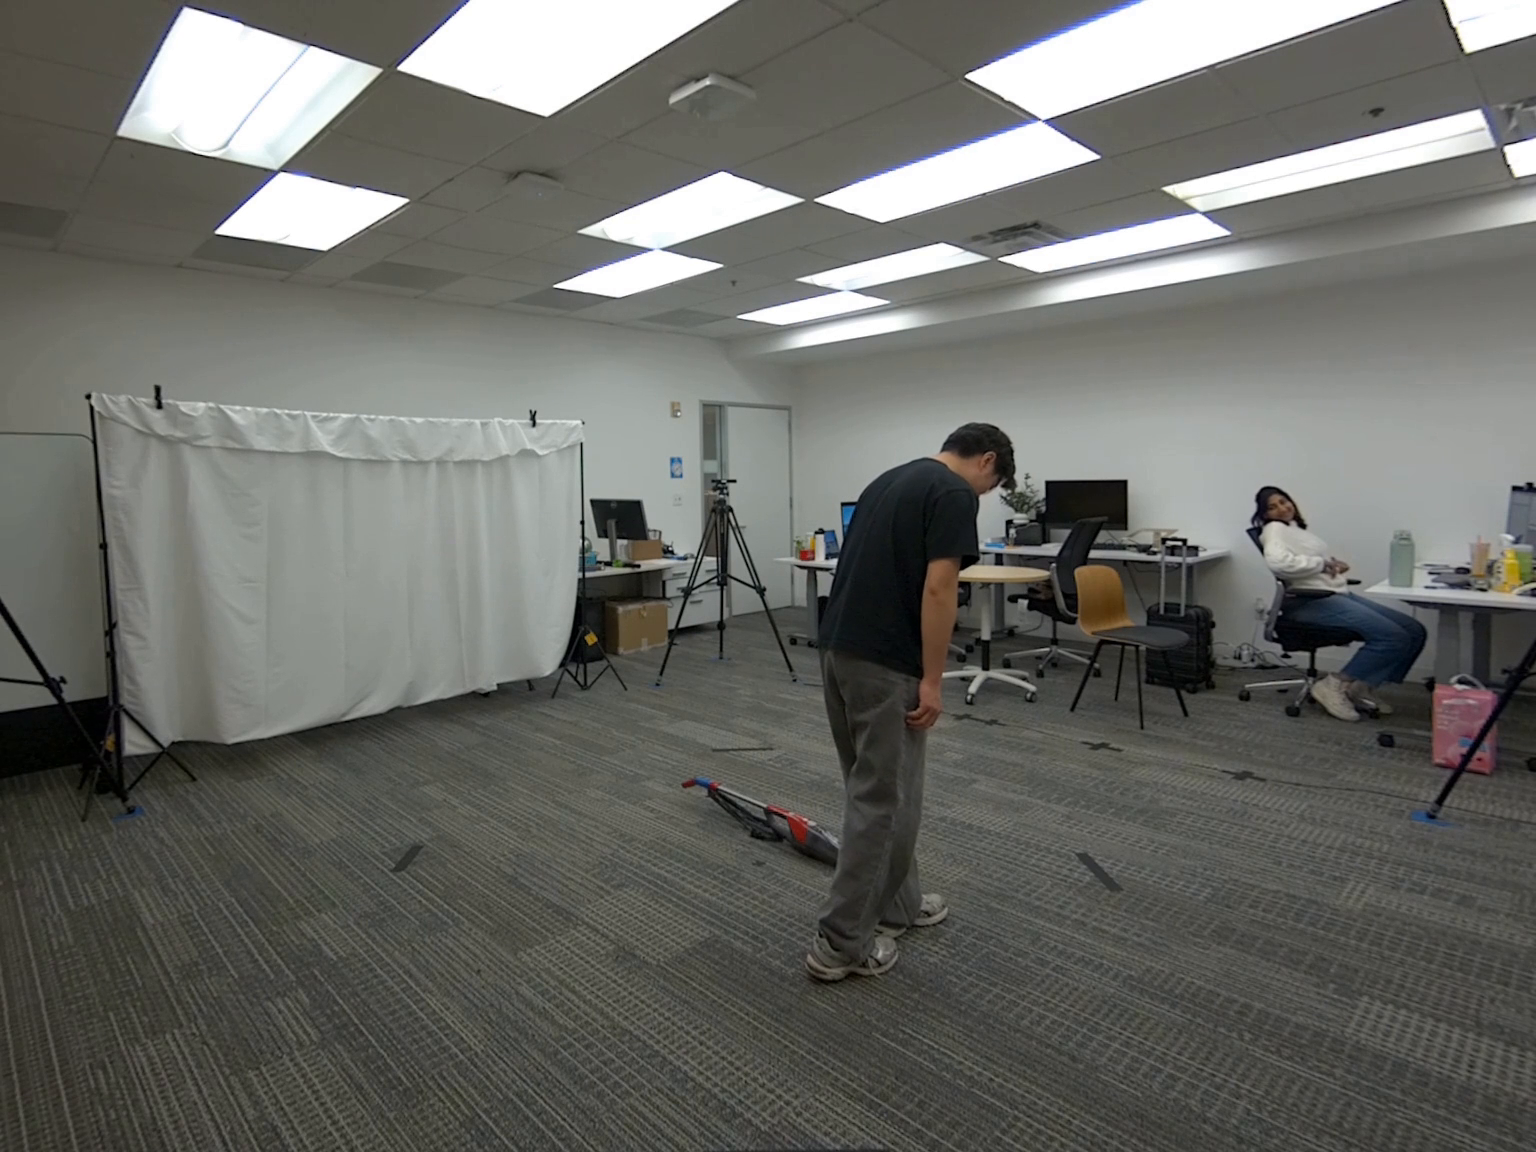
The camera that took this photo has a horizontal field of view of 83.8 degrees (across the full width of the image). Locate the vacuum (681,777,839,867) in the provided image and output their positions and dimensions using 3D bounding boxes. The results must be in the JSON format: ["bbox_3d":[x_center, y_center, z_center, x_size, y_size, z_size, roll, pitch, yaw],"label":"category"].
[{"bbox_3d":[0.007,0.965,3.354,0.246,0.143,1.082,-6,7,-42],"label":"vacuum"}]
